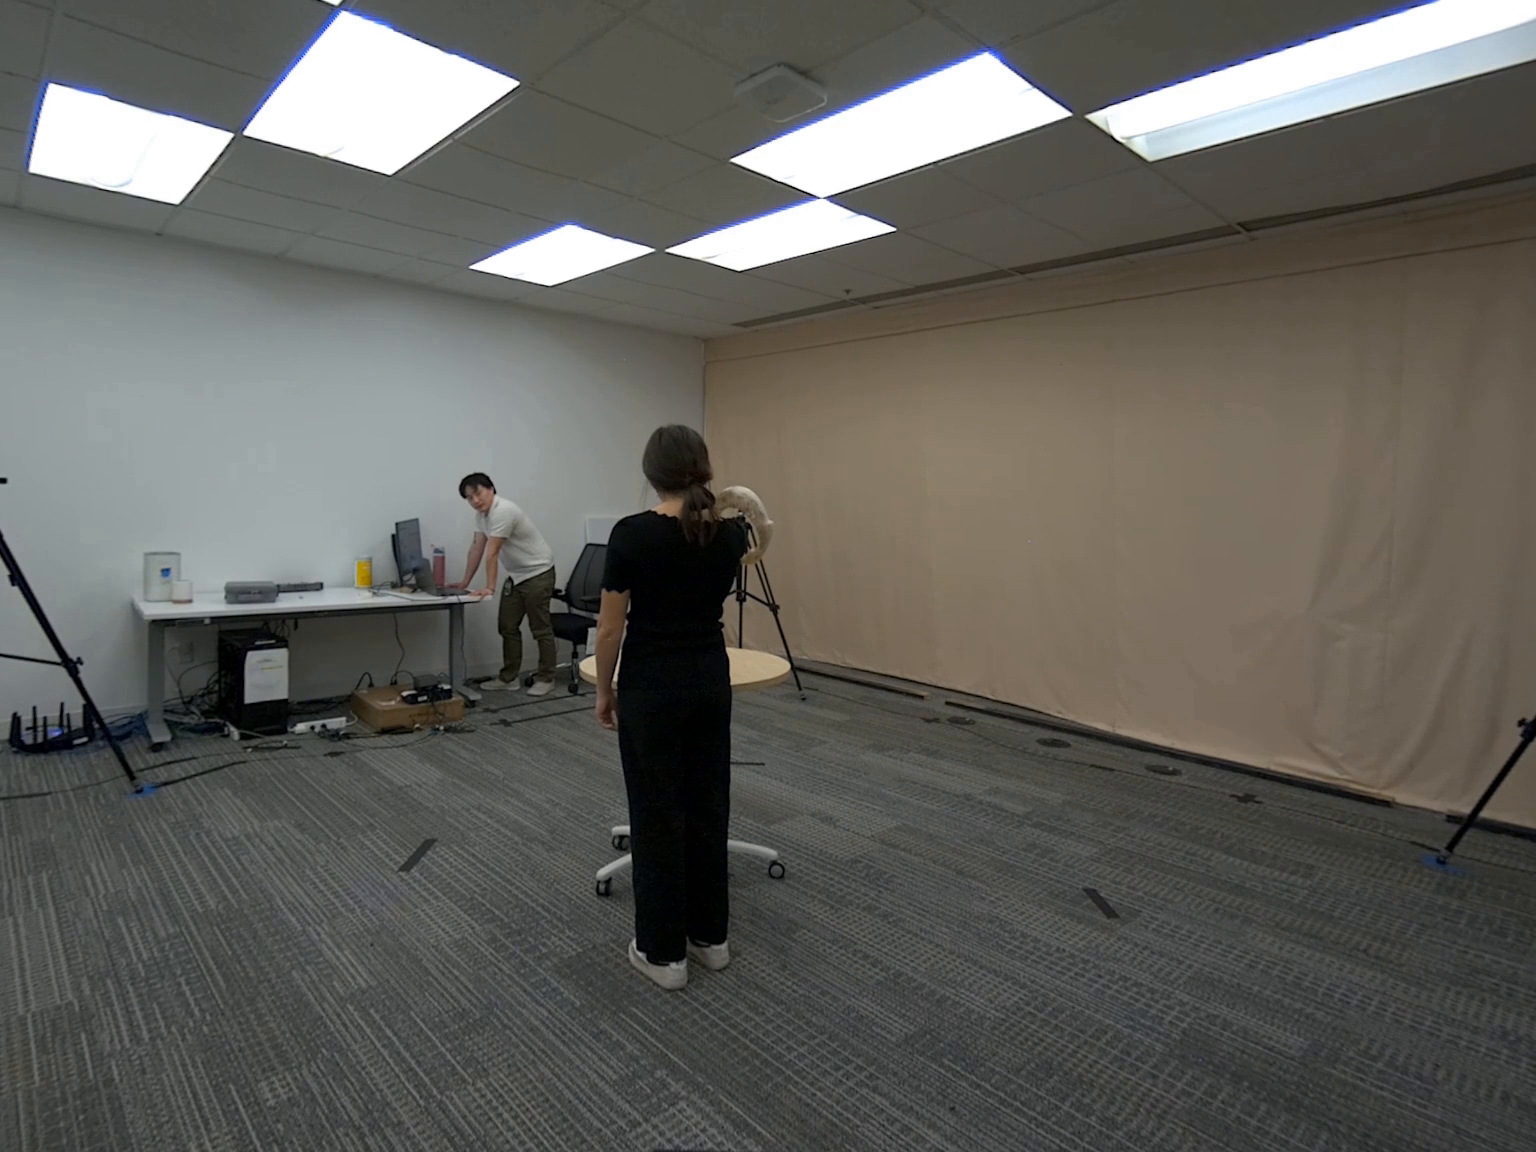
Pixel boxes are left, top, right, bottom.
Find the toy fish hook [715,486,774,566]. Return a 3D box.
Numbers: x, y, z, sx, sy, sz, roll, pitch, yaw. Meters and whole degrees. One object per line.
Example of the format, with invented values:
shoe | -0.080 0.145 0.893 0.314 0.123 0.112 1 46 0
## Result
toy fish hook | -0.172 -0.093 2.489 0.047 0.226 0.510 -19 -9 -39
